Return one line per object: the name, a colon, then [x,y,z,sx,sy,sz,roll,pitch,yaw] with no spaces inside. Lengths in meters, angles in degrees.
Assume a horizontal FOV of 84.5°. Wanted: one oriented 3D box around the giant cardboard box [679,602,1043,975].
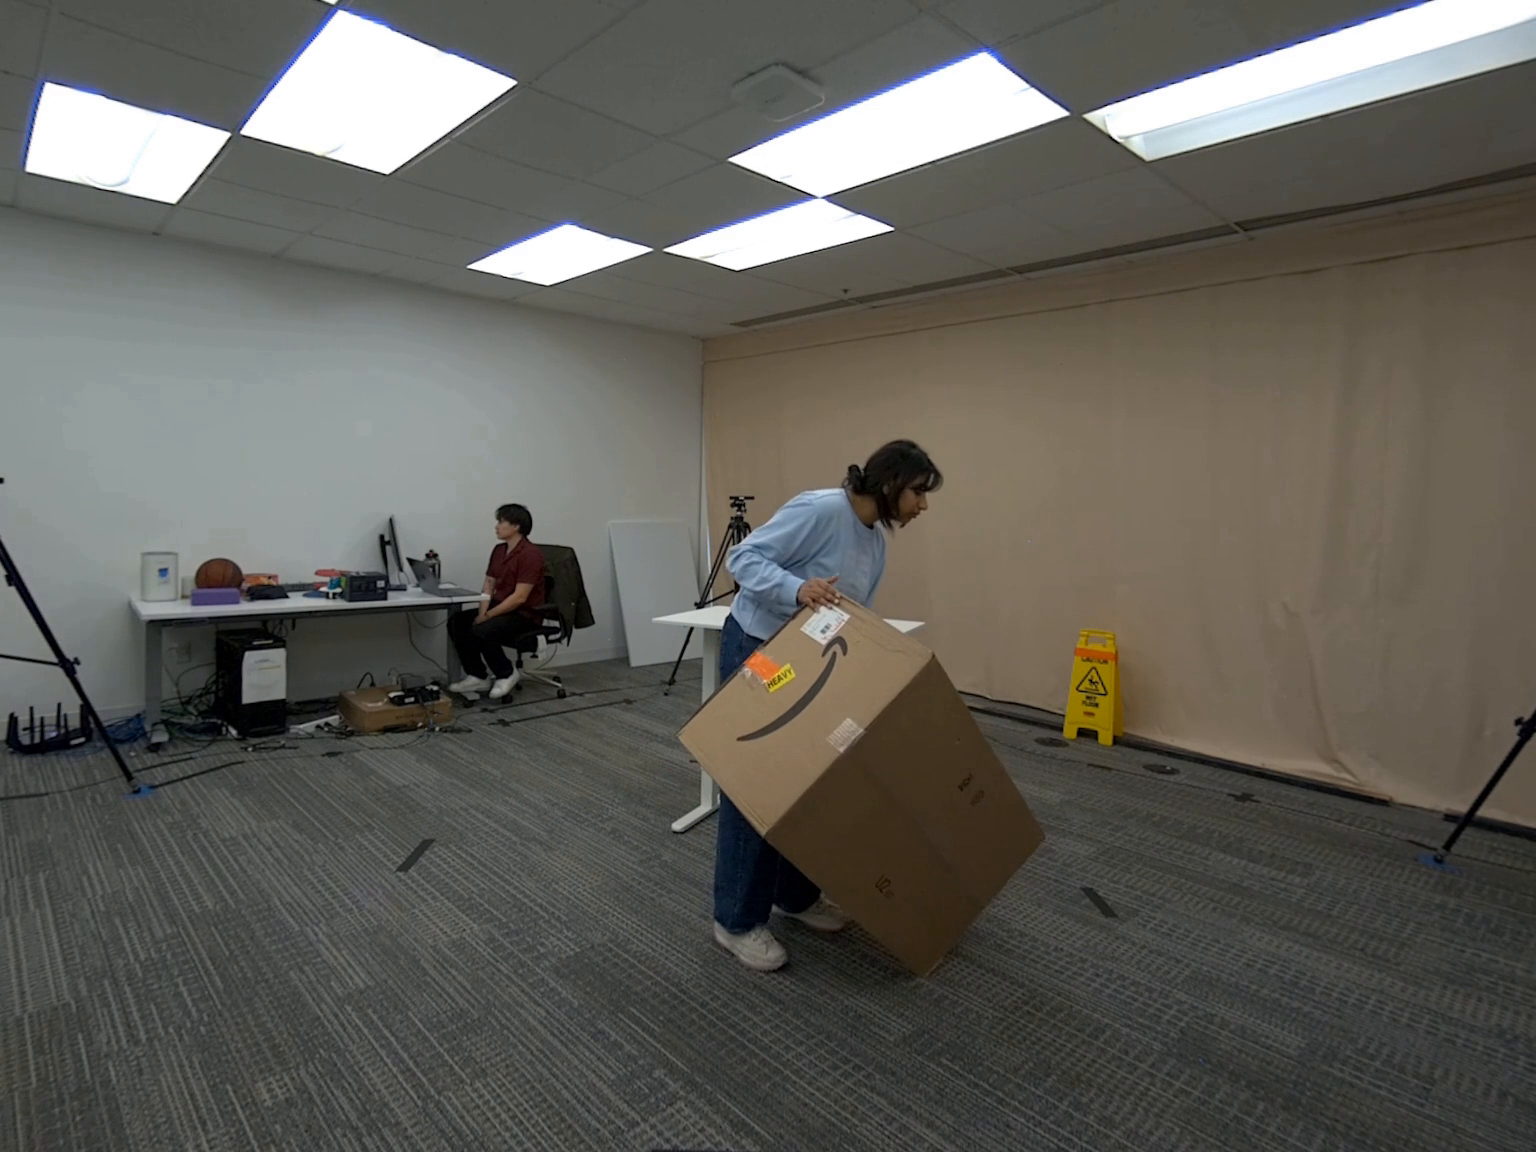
giant cardboard box: [0.303,0.607,2.371,0.440,0.577,0.994,33,-15,49]
